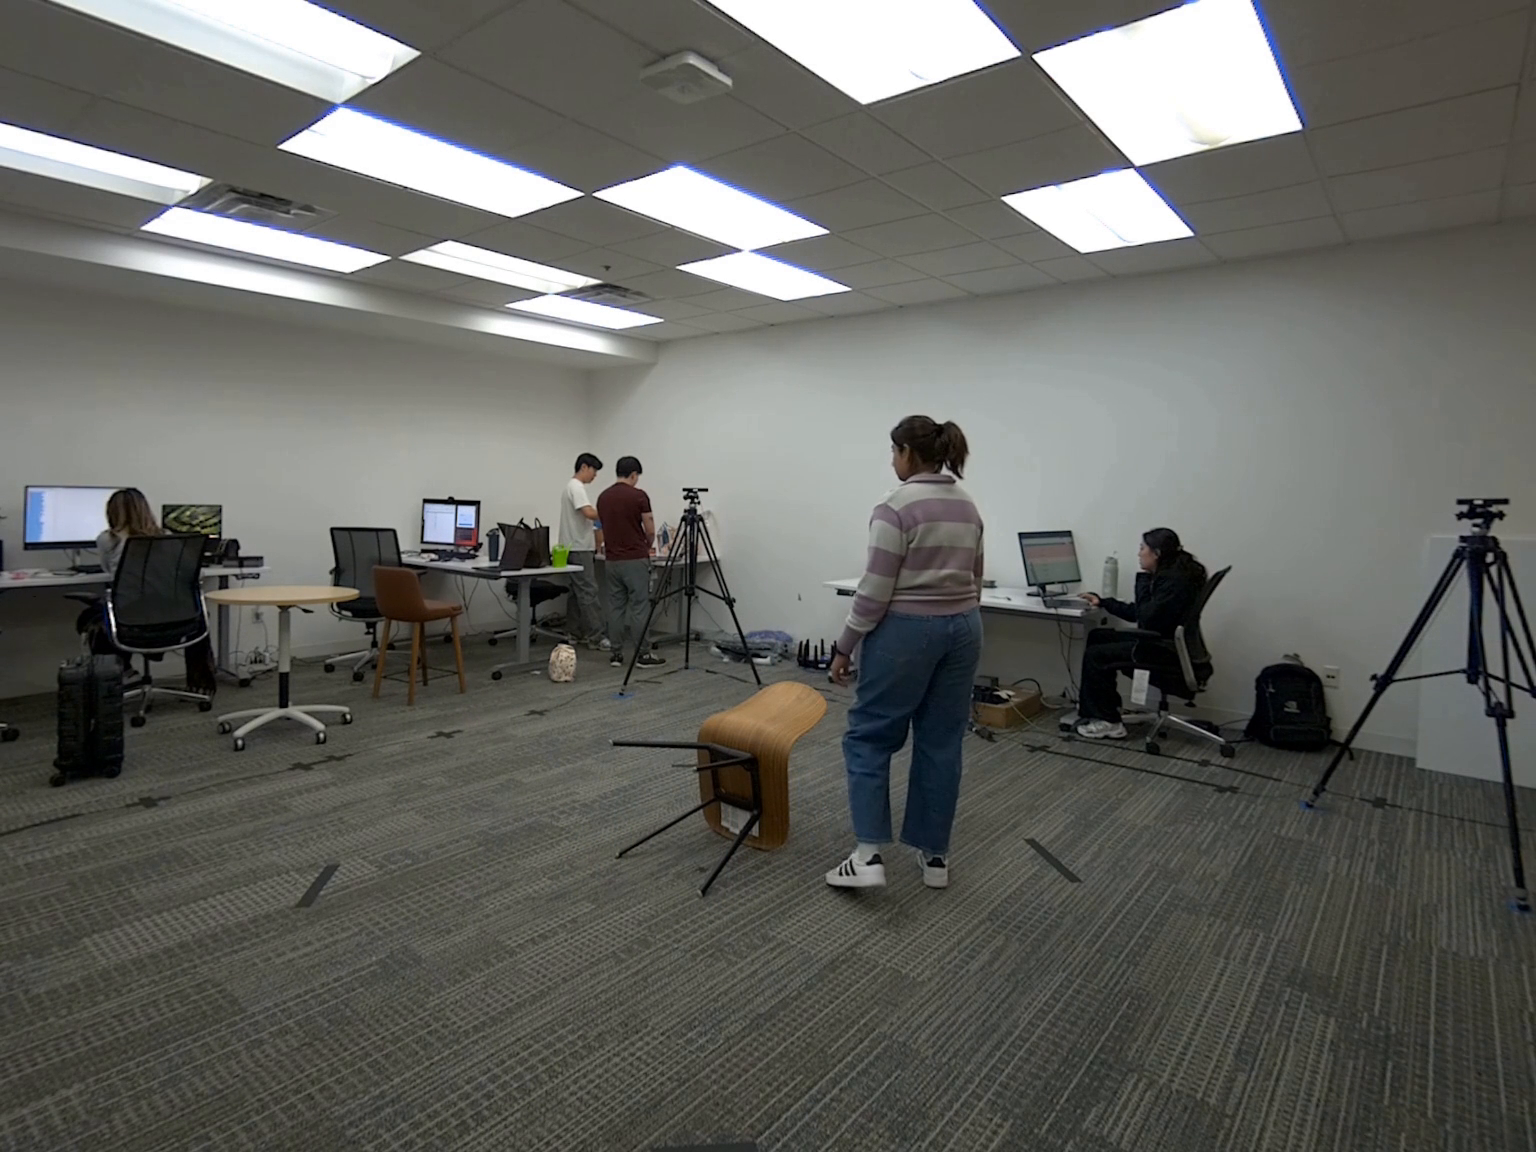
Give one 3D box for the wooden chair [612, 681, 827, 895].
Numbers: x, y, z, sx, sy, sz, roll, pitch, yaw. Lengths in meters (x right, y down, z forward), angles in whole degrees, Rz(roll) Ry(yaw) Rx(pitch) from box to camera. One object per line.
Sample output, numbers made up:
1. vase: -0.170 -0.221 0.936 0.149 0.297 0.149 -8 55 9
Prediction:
1. wooden chair: -0.140 0.791 3.328 0.494 0.518 0.858 3 14 41
